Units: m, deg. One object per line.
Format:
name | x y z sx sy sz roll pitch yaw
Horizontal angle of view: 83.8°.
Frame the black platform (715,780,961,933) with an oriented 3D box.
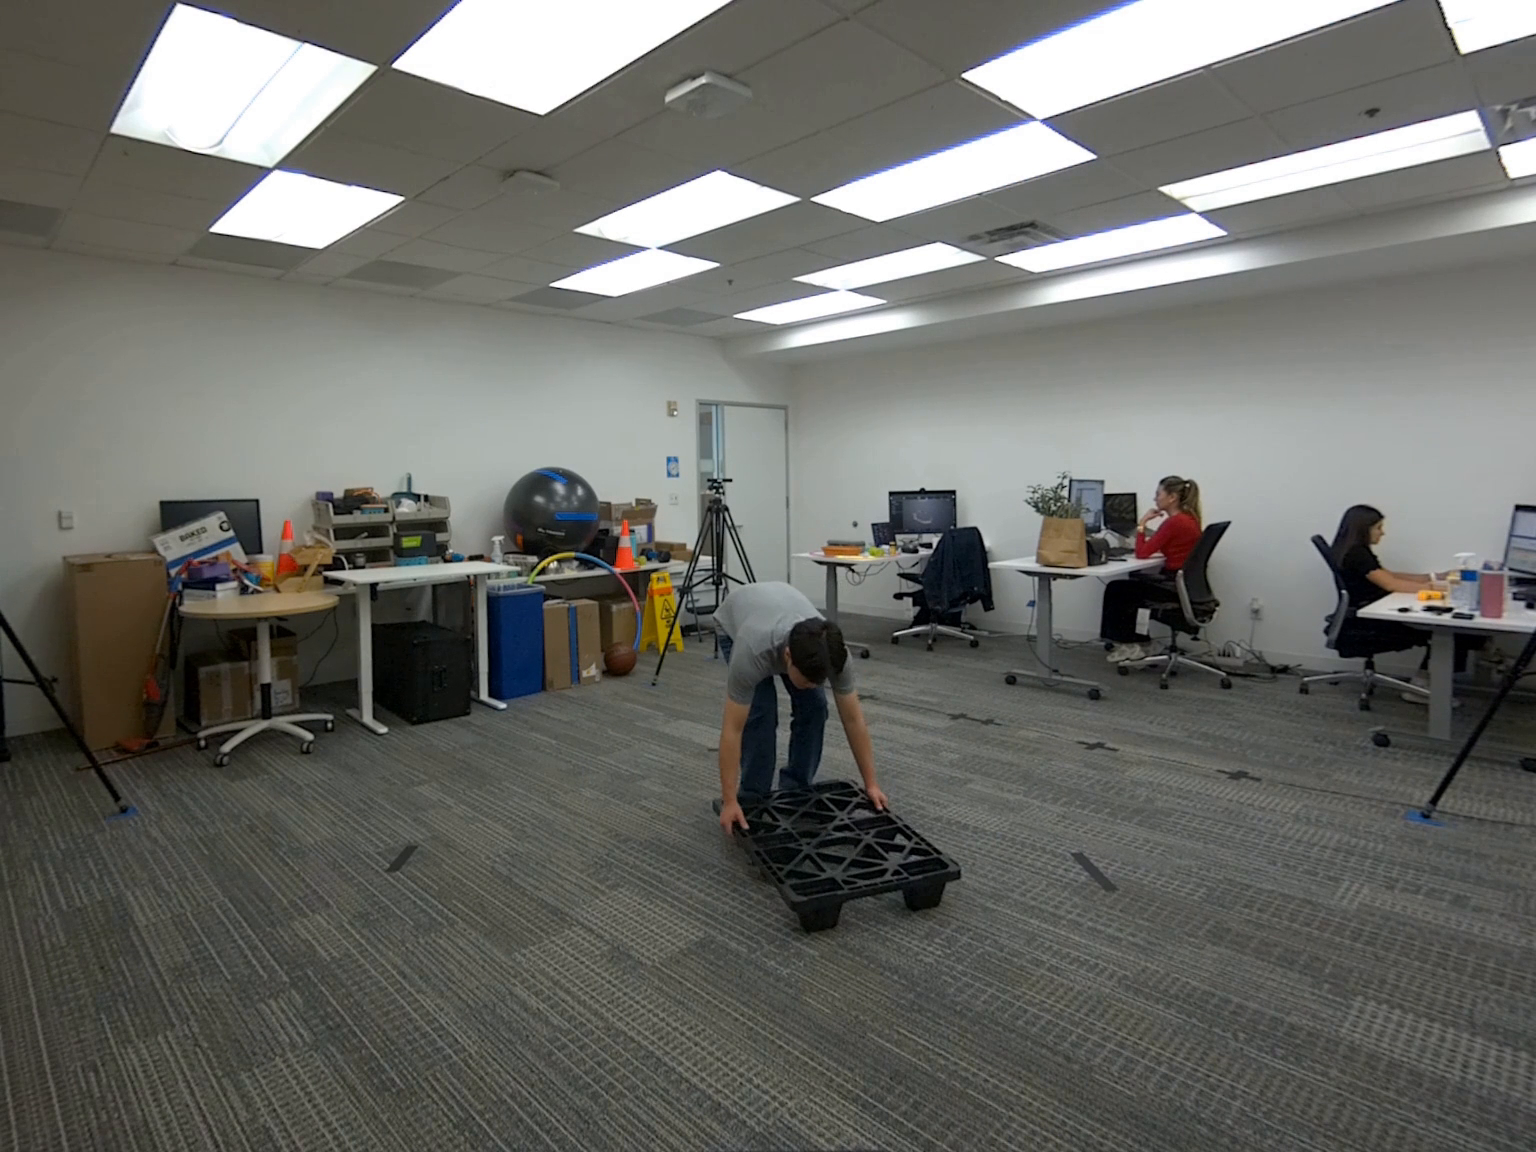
black platform | 0.205 0.960 3.028 0.595 0.142 0.825 -4 9 -19
